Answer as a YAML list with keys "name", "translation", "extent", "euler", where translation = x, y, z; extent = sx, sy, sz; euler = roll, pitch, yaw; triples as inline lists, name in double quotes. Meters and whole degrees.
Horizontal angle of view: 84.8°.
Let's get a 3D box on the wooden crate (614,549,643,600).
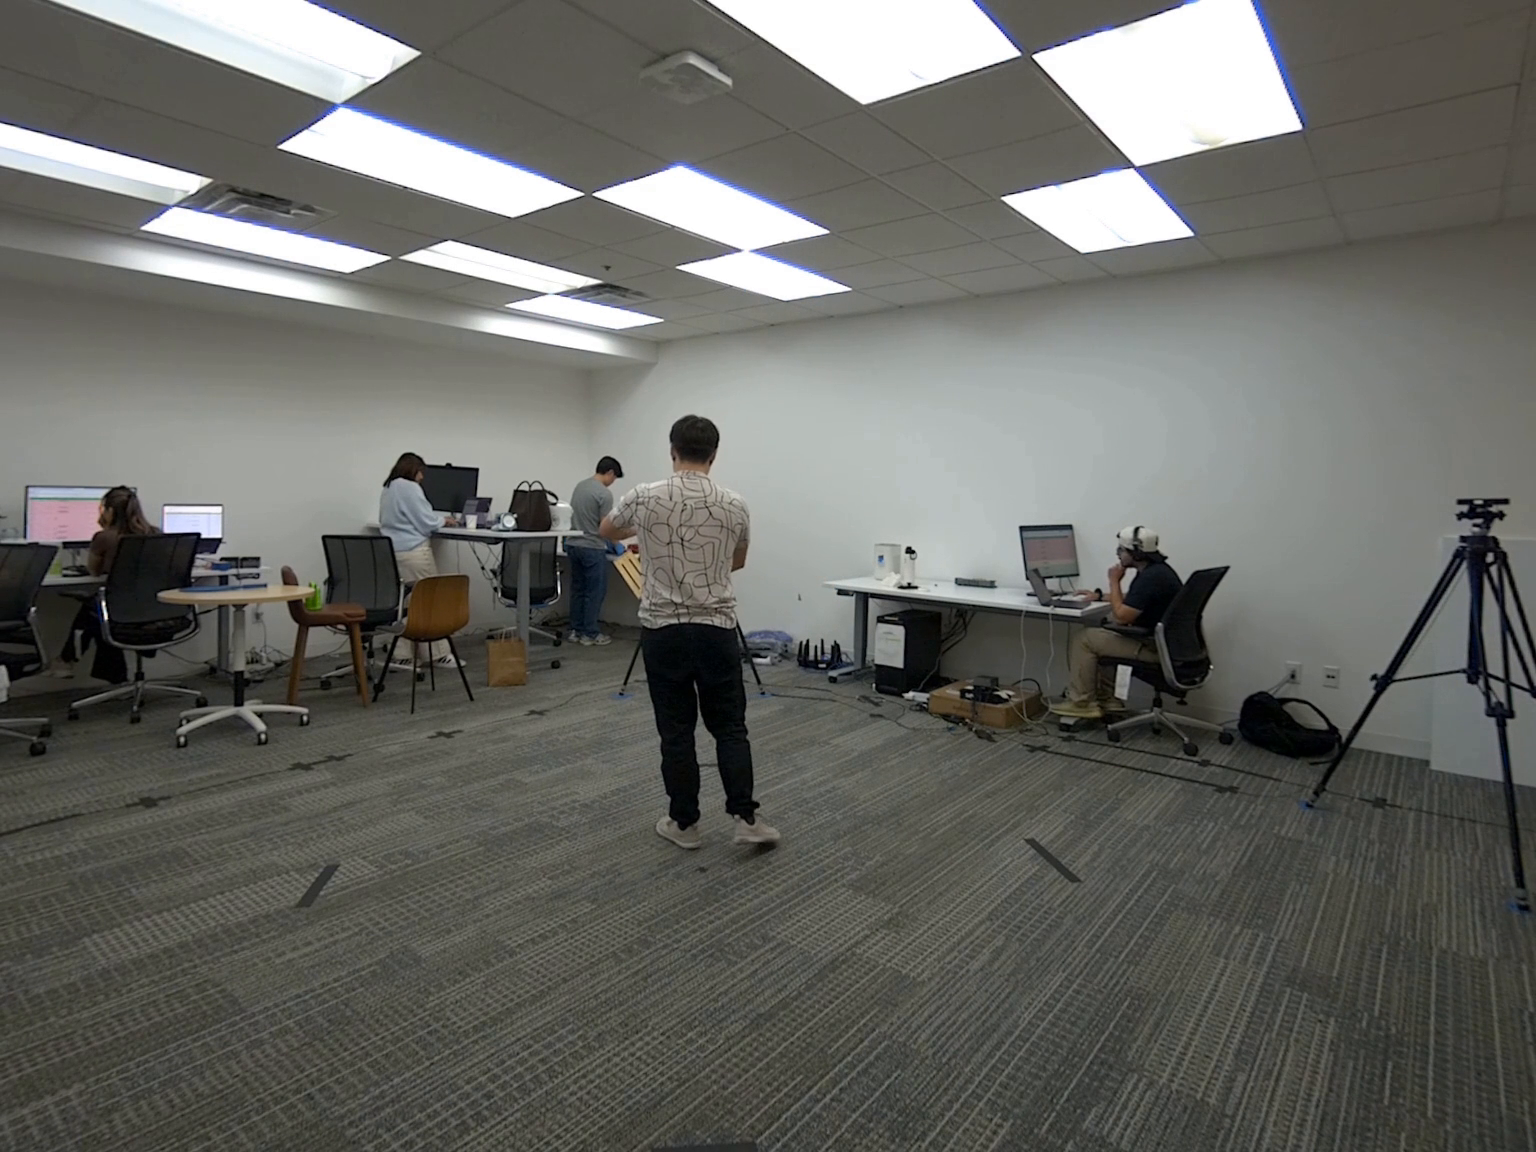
- name: "wooden crate"
  translation: [-0.462, -0.005, 3.692]
  extent: [0.338, 0.273, 0.289]
  euler: [46, -6, 46]
